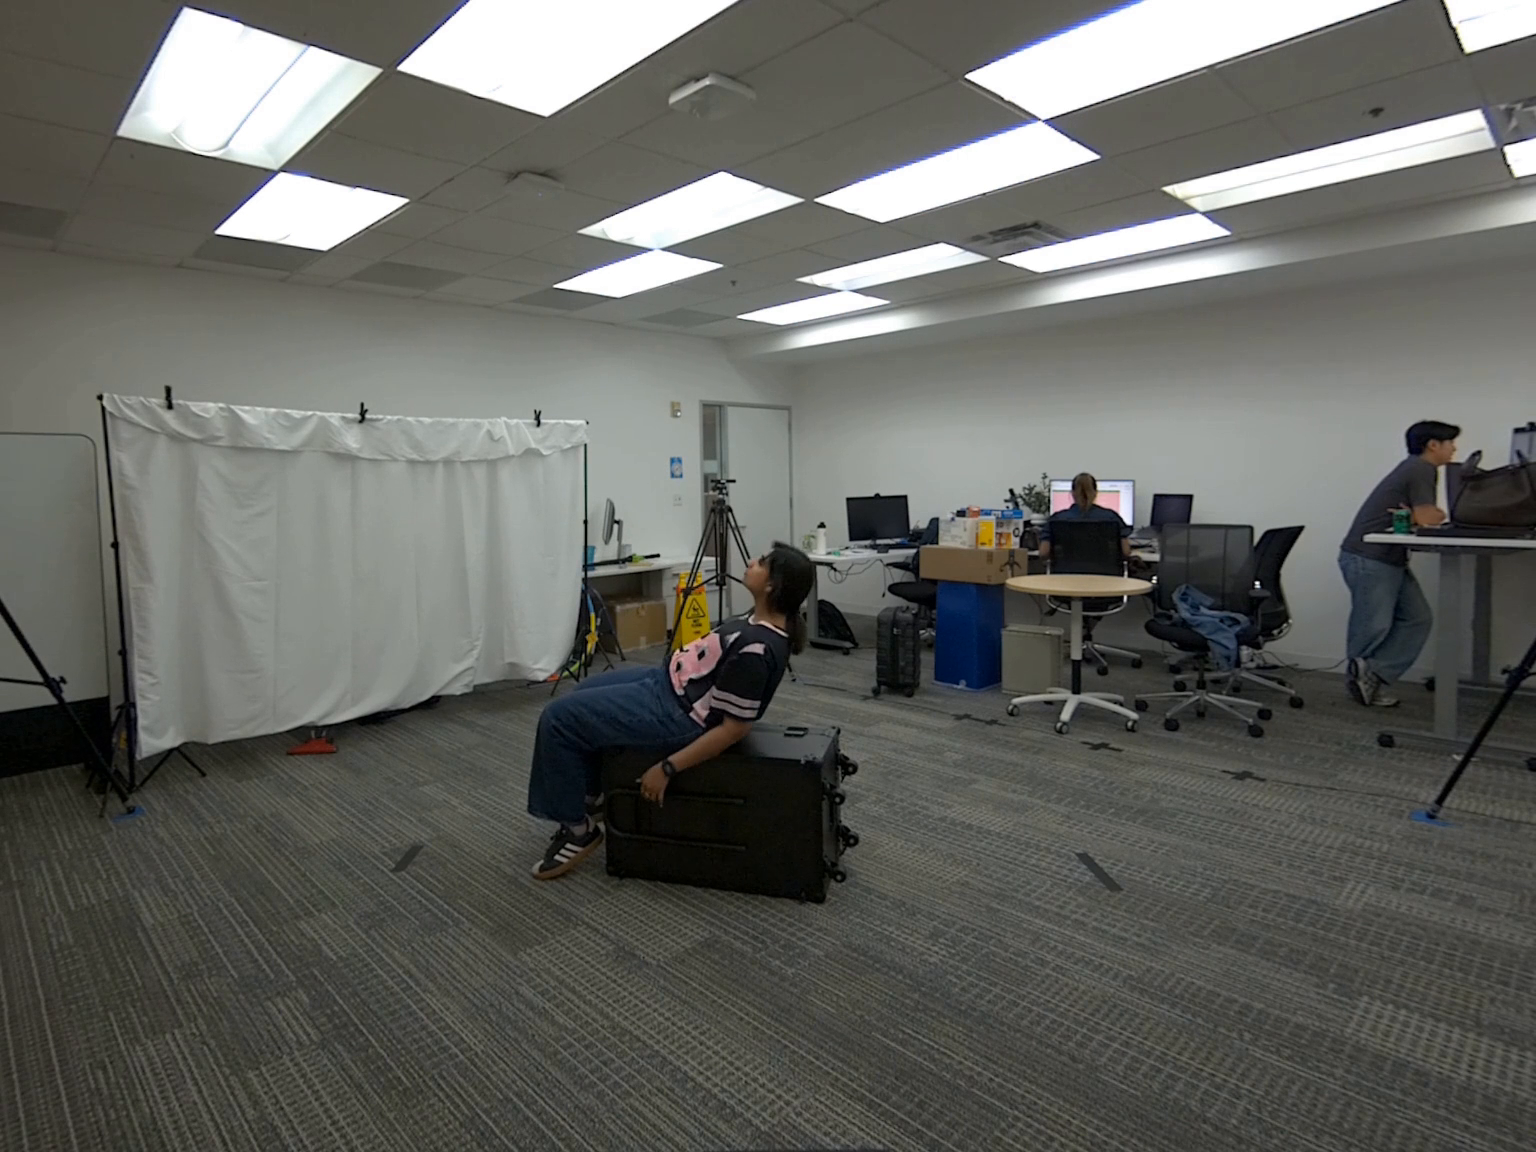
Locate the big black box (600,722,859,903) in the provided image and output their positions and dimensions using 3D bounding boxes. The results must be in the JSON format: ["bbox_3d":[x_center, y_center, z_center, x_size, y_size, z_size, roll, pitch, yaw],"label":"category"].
[{"bbox_3d":[-0.120,0.795,3.046,0.883,0.521,0.380,0,4,17],"label":"big black box"}]
